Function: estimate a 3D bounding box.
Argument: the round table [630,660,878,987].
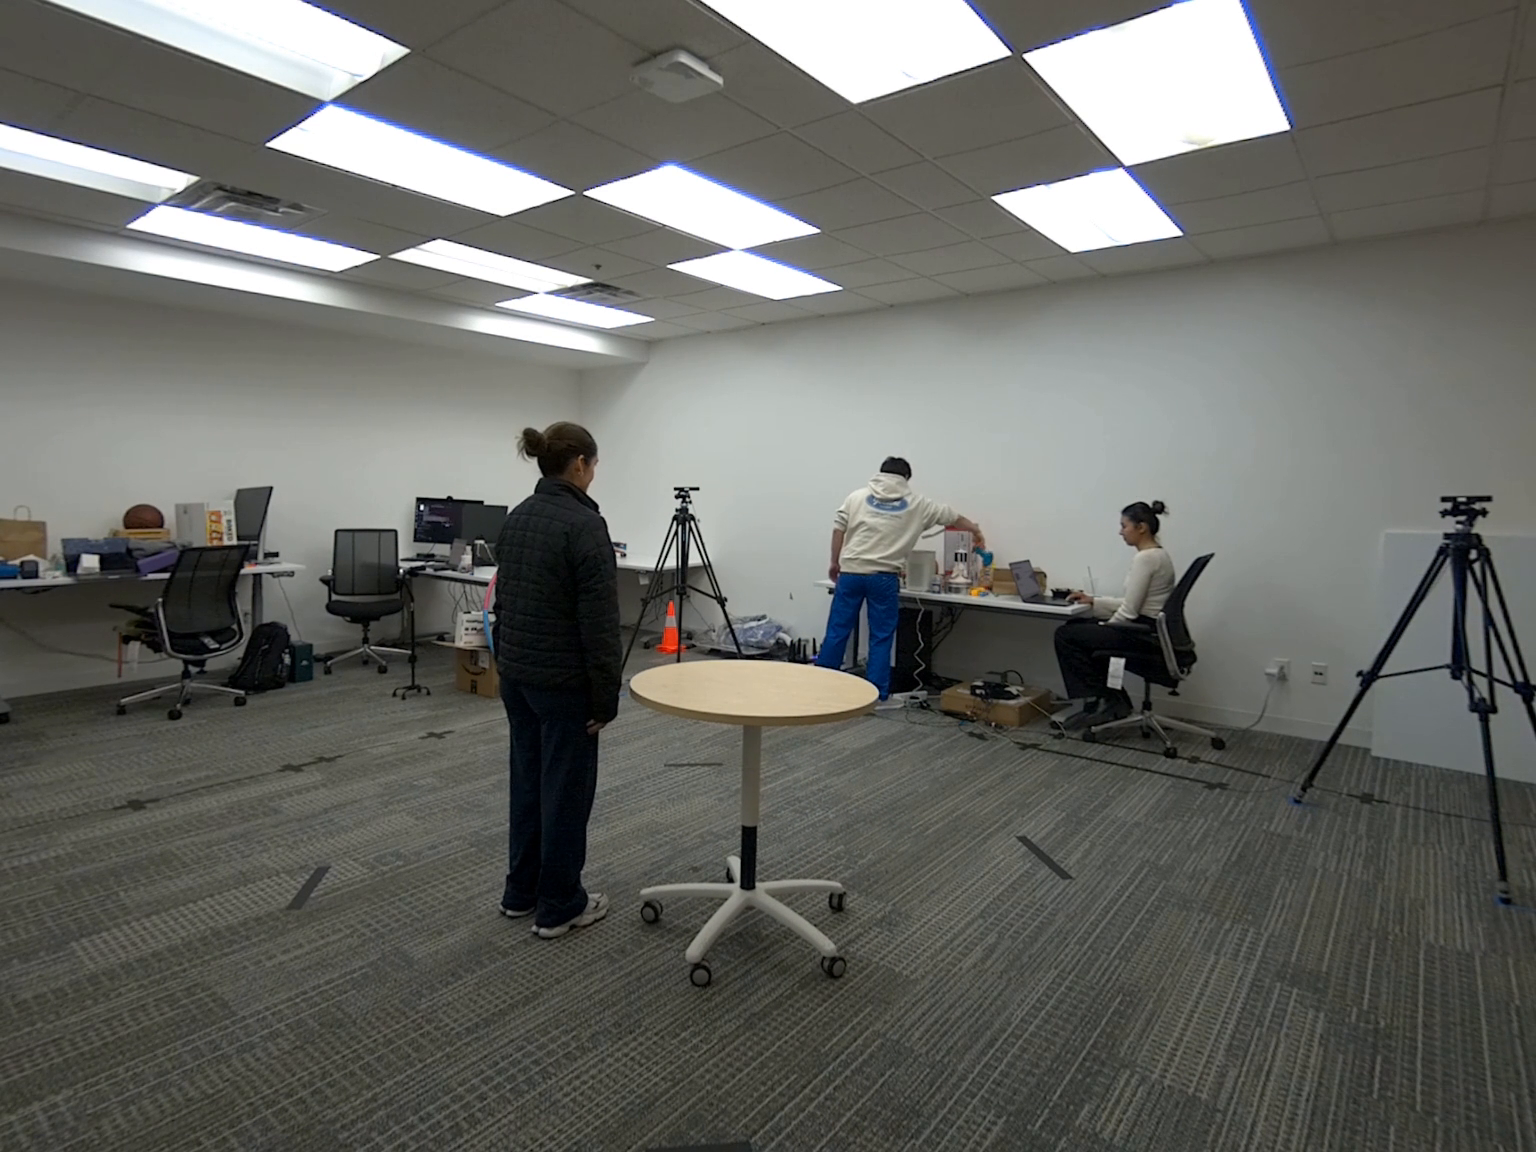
[{"bbox_3d":[-0.054,0.722,2.671,0.784,0.784,0.789,1,4,-2],"label":"round table"}]
